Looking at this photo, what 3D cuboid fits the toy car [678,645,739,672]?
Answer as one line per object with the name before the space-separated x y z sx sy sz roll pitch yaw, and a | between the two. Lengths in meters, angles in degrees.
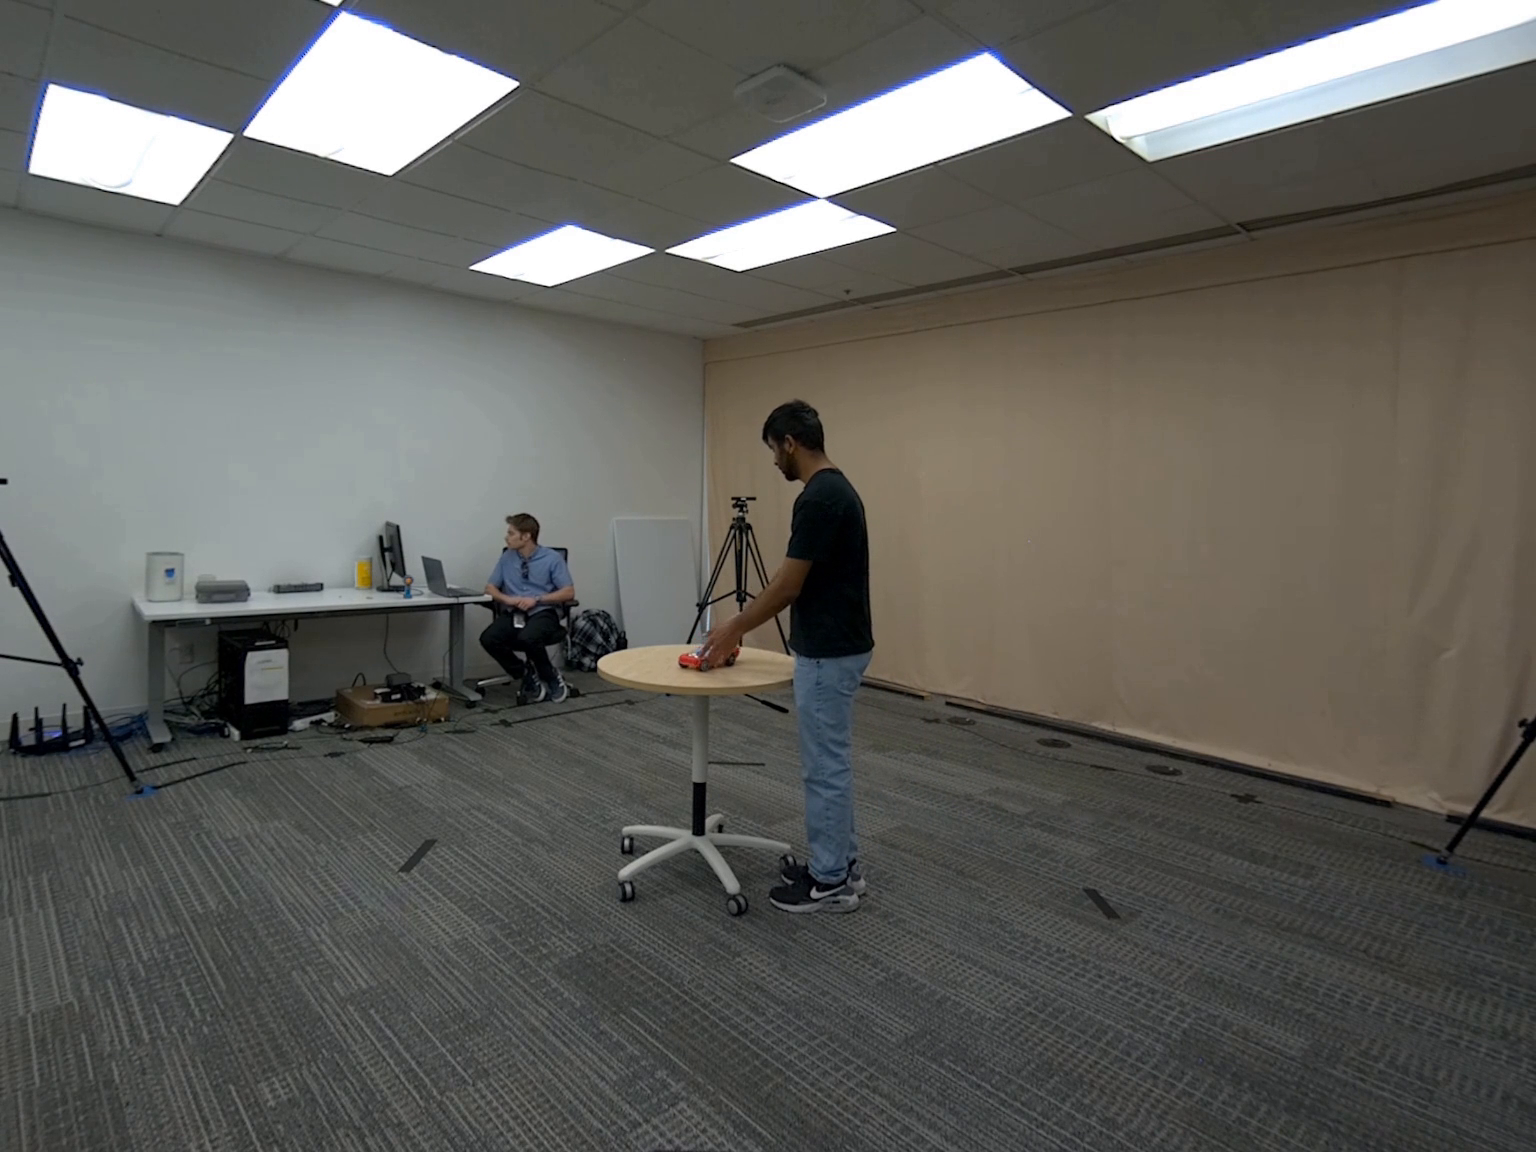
toy car | -0.210 0.296 3.055 0.133 0.082 0.251 4 17 40
